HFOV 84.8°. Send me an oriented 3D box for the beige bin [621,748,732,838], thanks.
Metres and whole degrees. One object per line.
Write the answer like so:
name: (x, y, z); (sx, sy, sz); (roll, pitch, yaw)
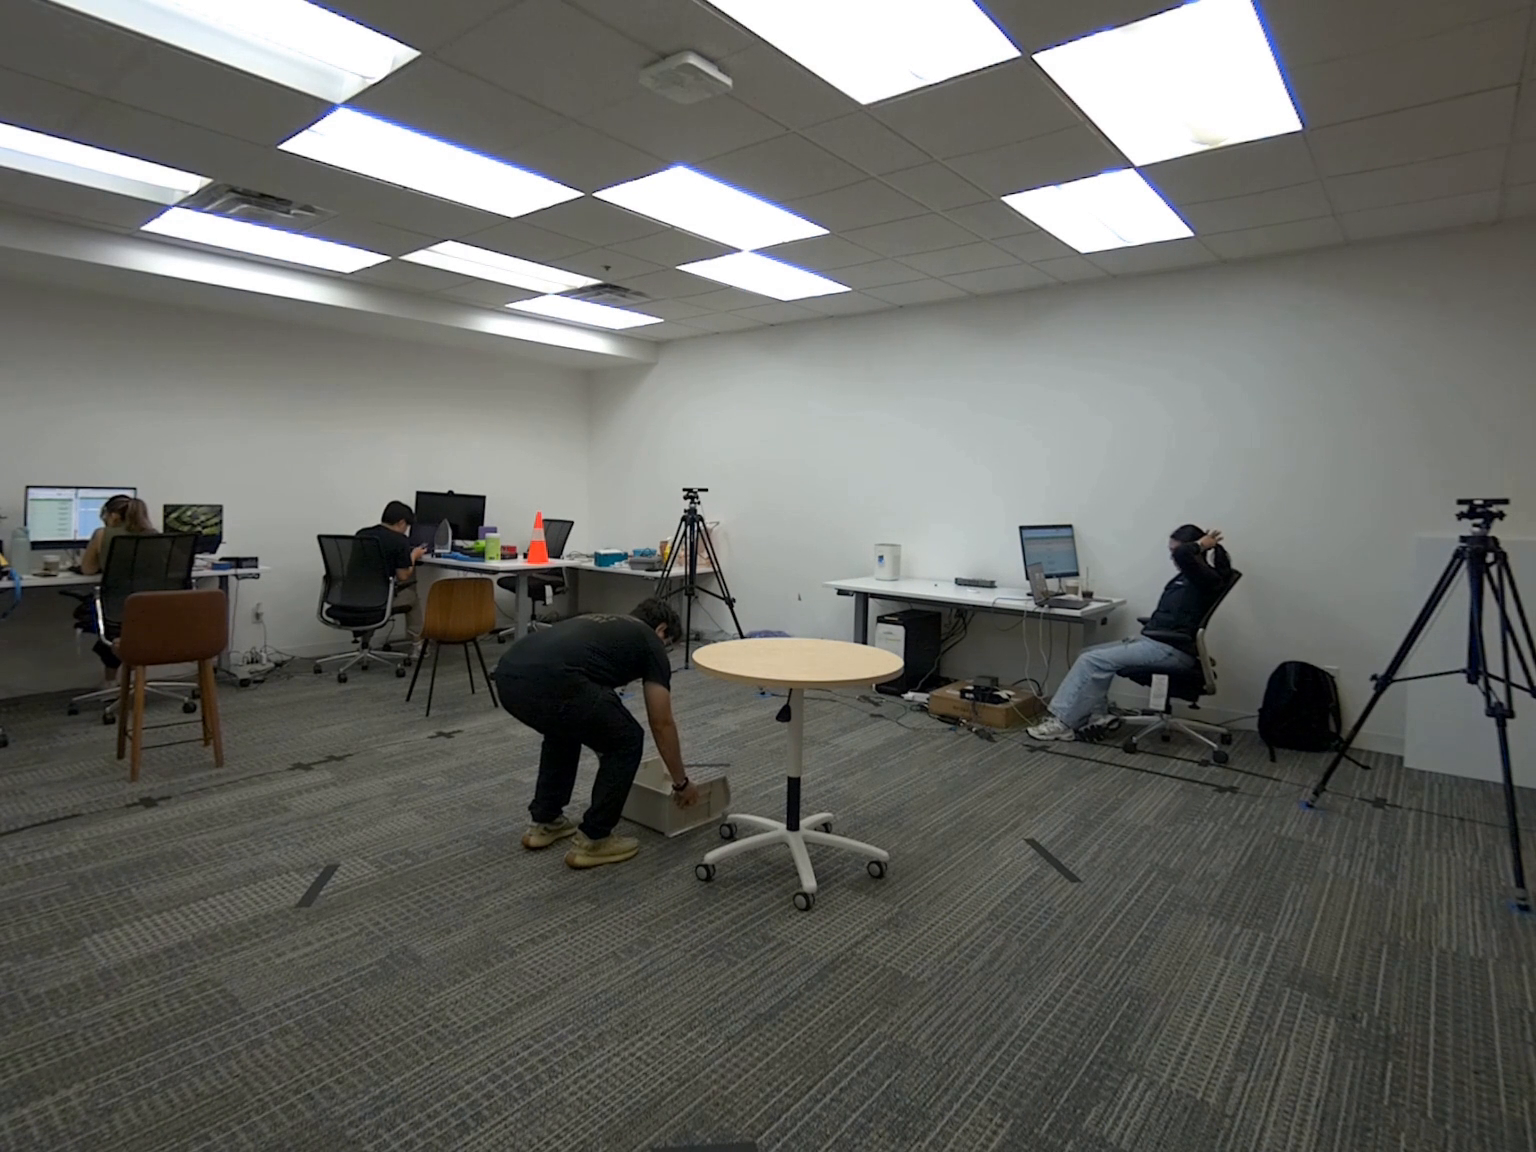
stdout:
beige bin: (-0.443, 0.917, 3.637); (0.437, 0.188, 0.366); (6, 8, 40)
